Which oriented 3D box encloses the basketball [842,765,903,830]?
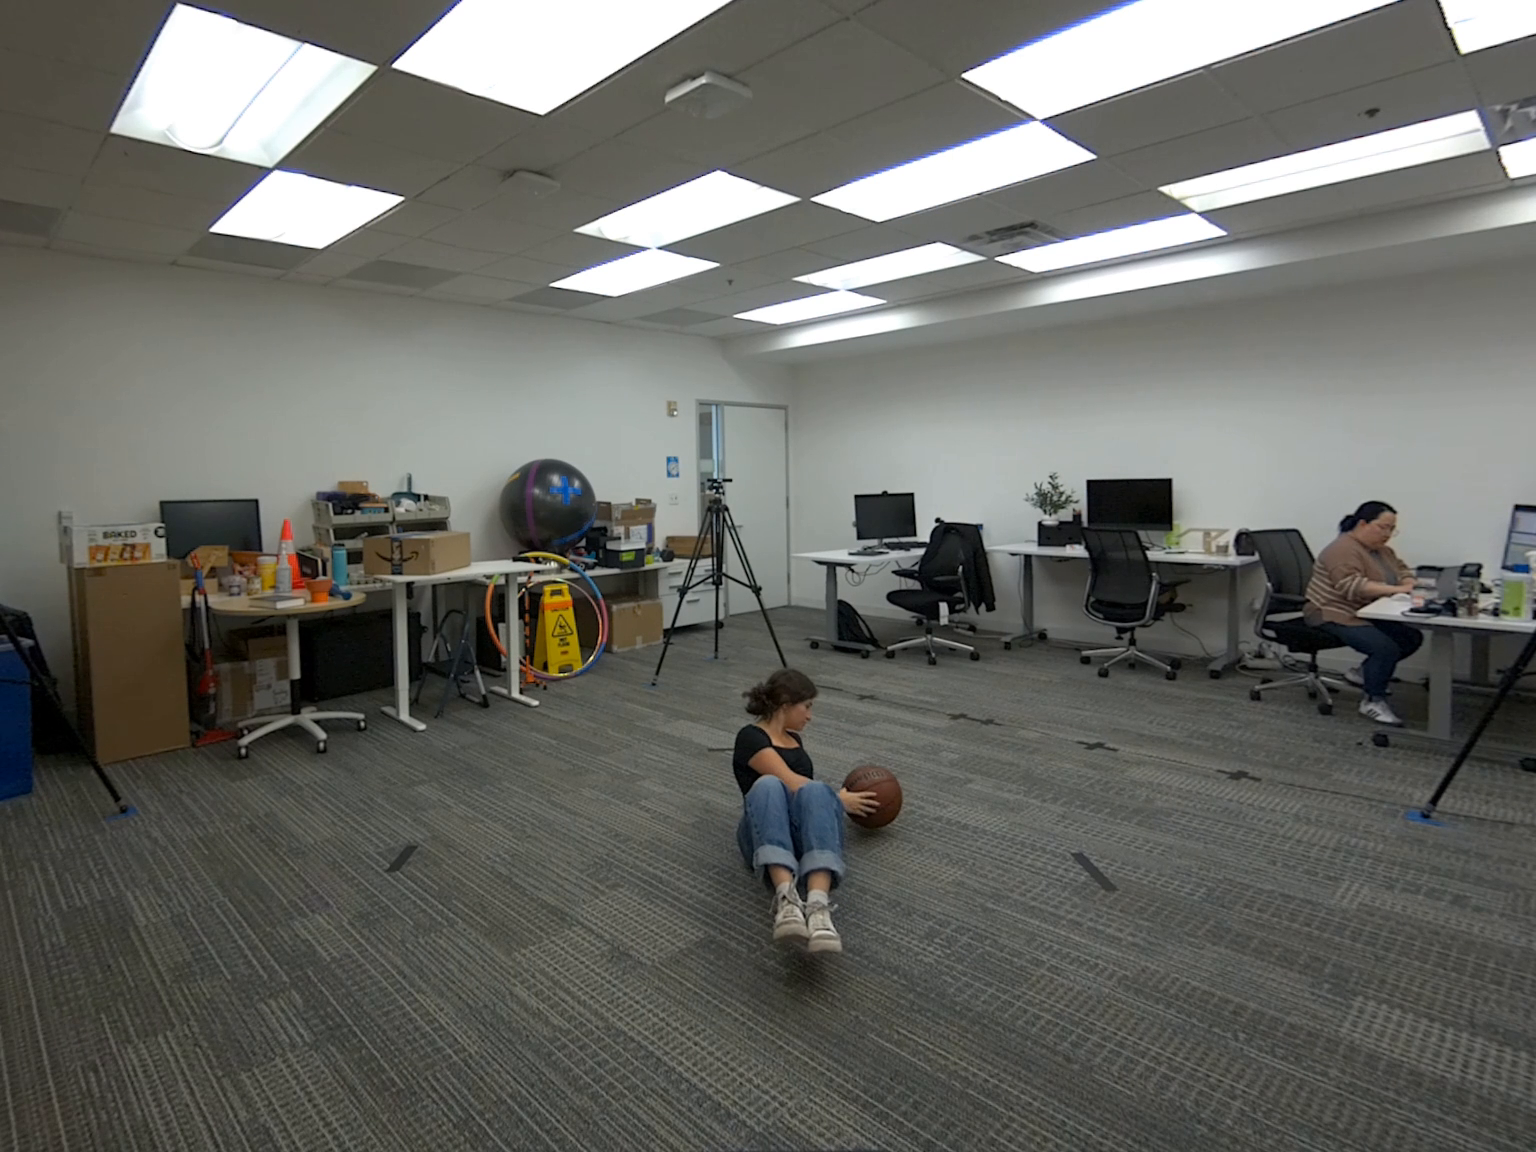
[{"bbox_3d":[0.400,0.843,3.324,0.236,0.235,0.237,-1,5,-2],"label":"basketball"}]
